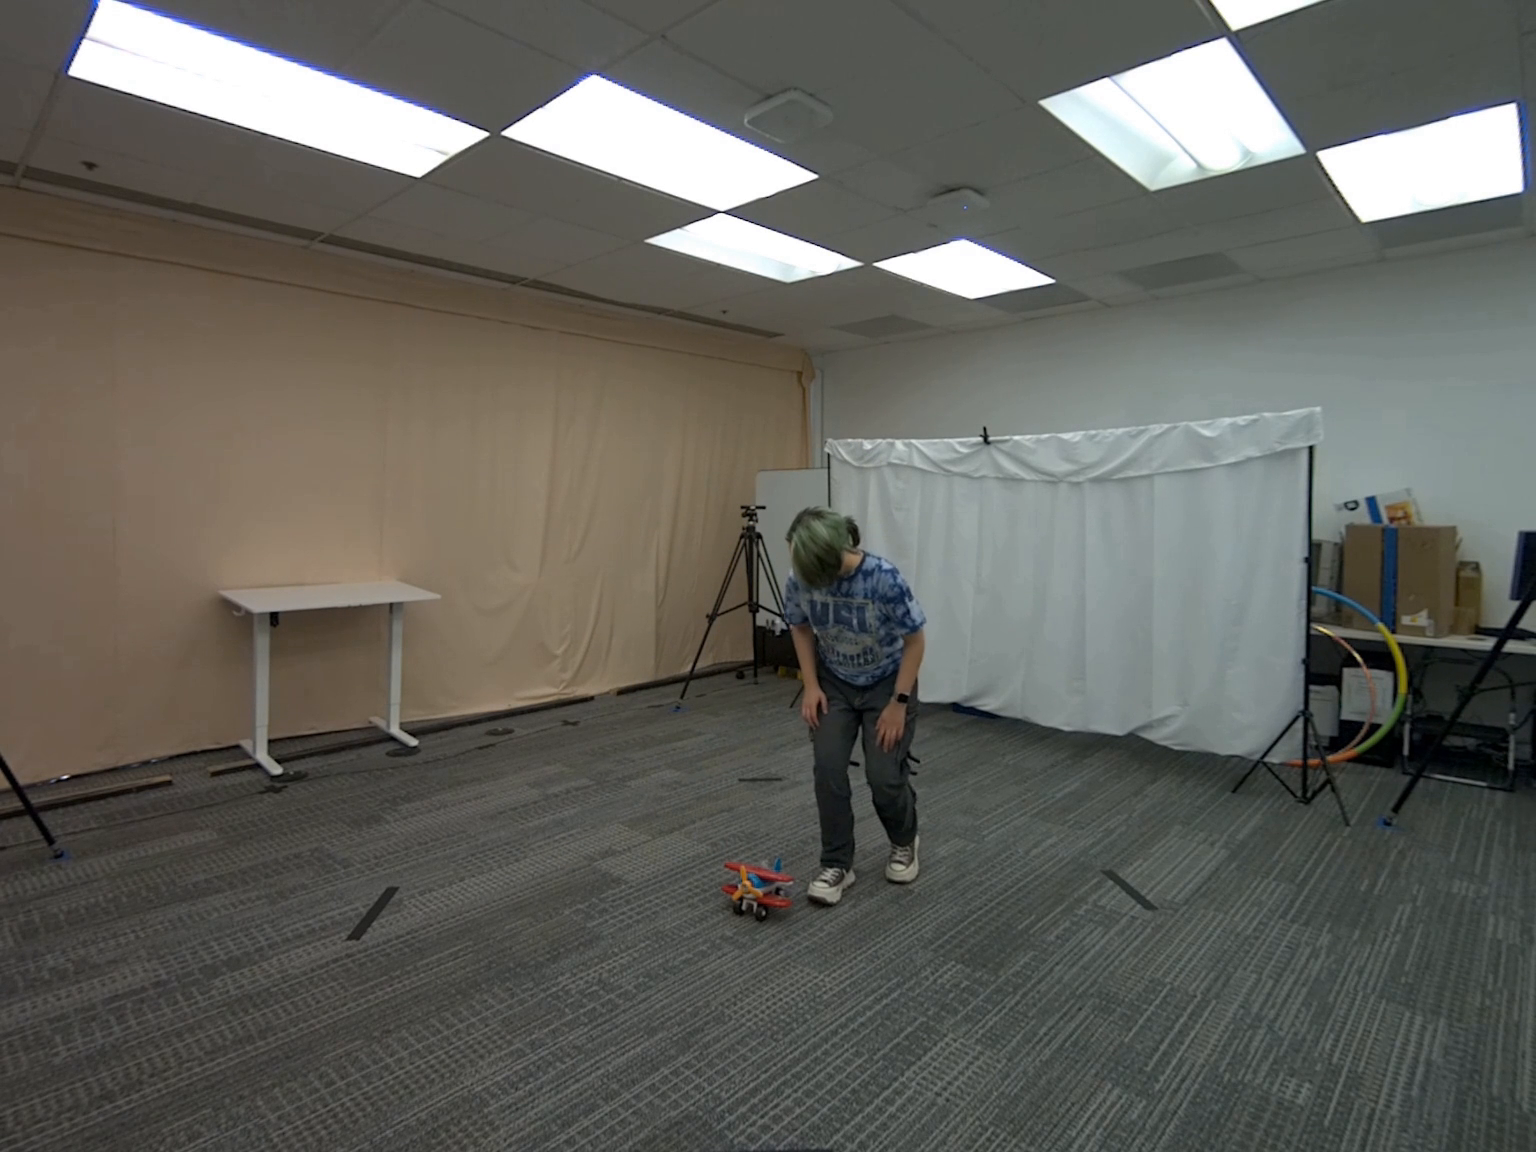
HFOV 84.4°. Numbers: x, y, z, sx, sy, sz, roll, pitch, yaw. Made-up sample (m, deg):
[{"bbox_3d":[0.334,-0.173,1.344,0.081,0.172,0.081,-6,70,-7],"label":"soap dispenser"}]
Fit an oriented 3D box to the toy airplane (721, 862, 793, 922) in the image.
[{"bbox_3d":[-0.032,1.073,2.927,0.252,0.156,0.259,0,5,2],"label":"toy airplane"}]
